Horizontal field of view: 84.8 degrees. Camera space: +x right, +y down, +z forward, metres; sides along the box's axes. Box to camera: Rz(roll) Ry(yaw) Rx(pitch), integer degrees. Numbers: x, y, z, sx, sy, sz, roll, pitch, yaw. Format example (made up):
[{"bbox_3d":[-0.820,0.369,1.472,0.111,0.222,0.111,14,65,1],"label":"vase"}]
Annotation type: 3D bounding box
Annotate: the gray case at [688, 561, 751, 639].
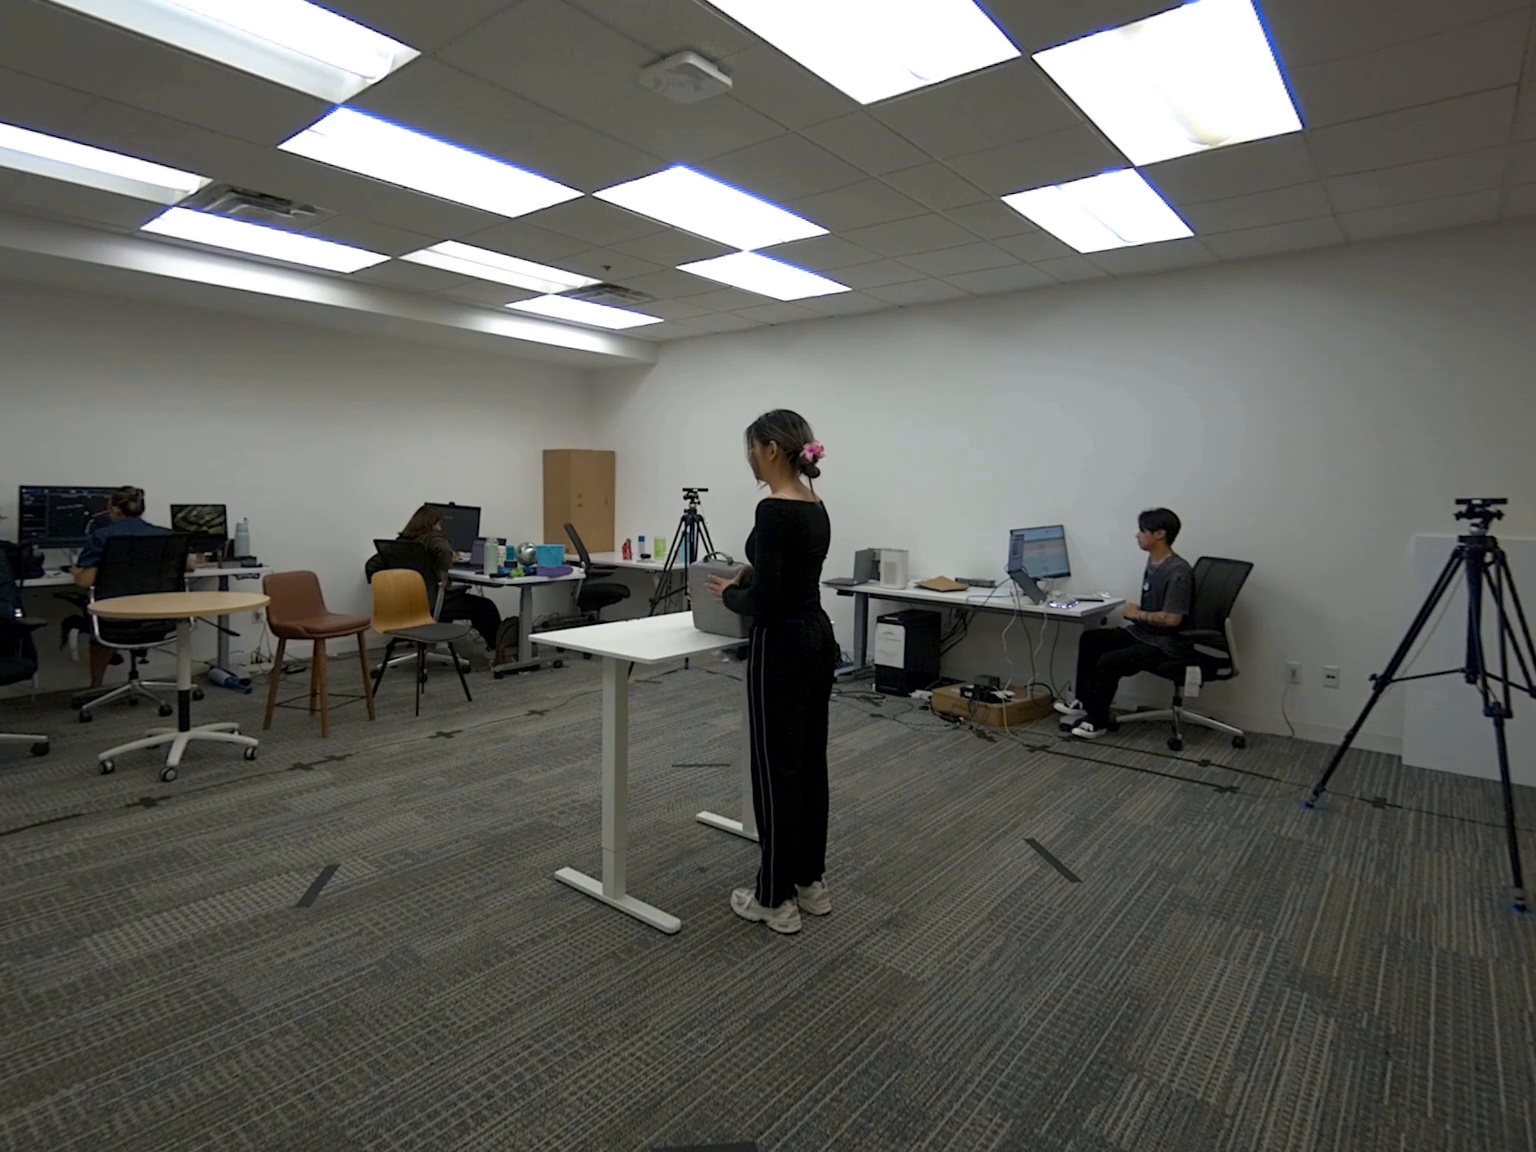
[{"bbox_3d":[-0.164,0.073,2.954,0.266,0.258,0.102,6,14,43],"label":"gray case"}]
